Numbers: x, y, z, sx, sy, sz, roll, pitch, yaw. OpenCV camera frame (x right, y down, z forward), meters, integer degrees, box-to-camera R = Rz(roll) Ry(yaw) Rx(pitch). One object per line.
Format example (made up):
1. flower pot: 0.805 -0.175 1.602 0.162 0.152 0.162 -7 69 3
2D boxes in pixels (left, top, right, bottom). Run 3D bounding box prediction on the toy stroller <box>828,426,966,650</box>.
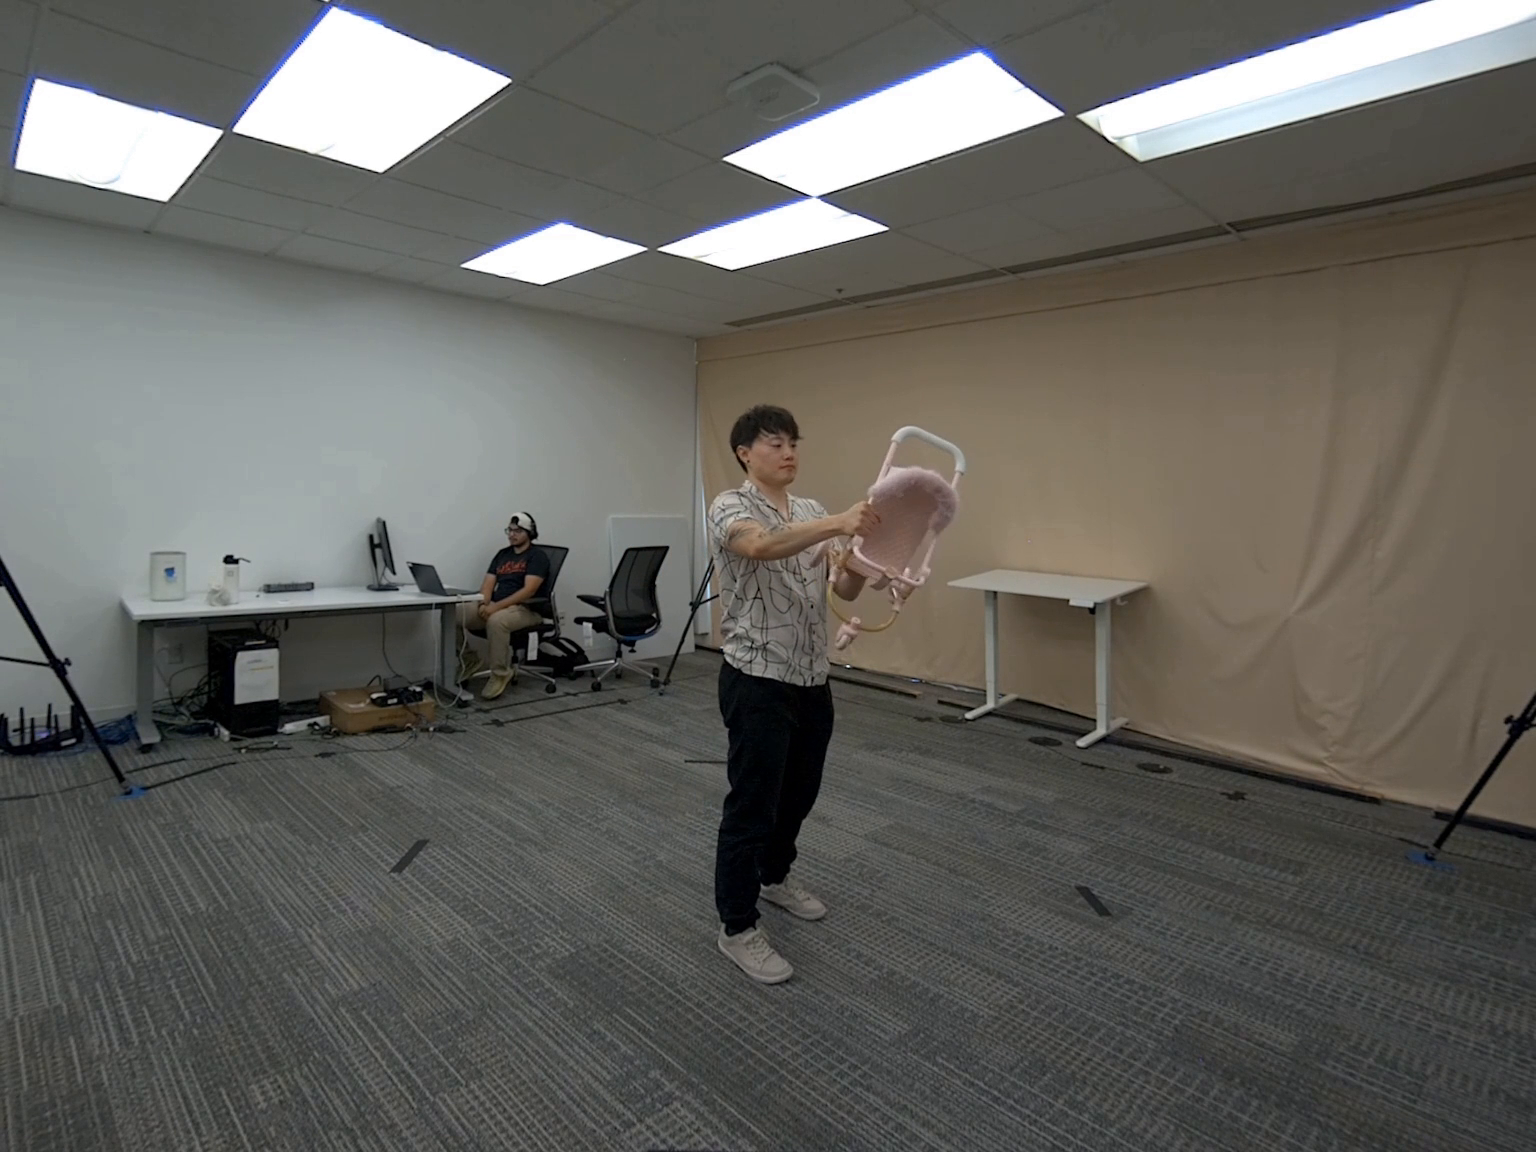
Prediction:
1. toy stroller: 0.305 -0.083 2.158 0.280 0.531 0.345 27 26 -4
